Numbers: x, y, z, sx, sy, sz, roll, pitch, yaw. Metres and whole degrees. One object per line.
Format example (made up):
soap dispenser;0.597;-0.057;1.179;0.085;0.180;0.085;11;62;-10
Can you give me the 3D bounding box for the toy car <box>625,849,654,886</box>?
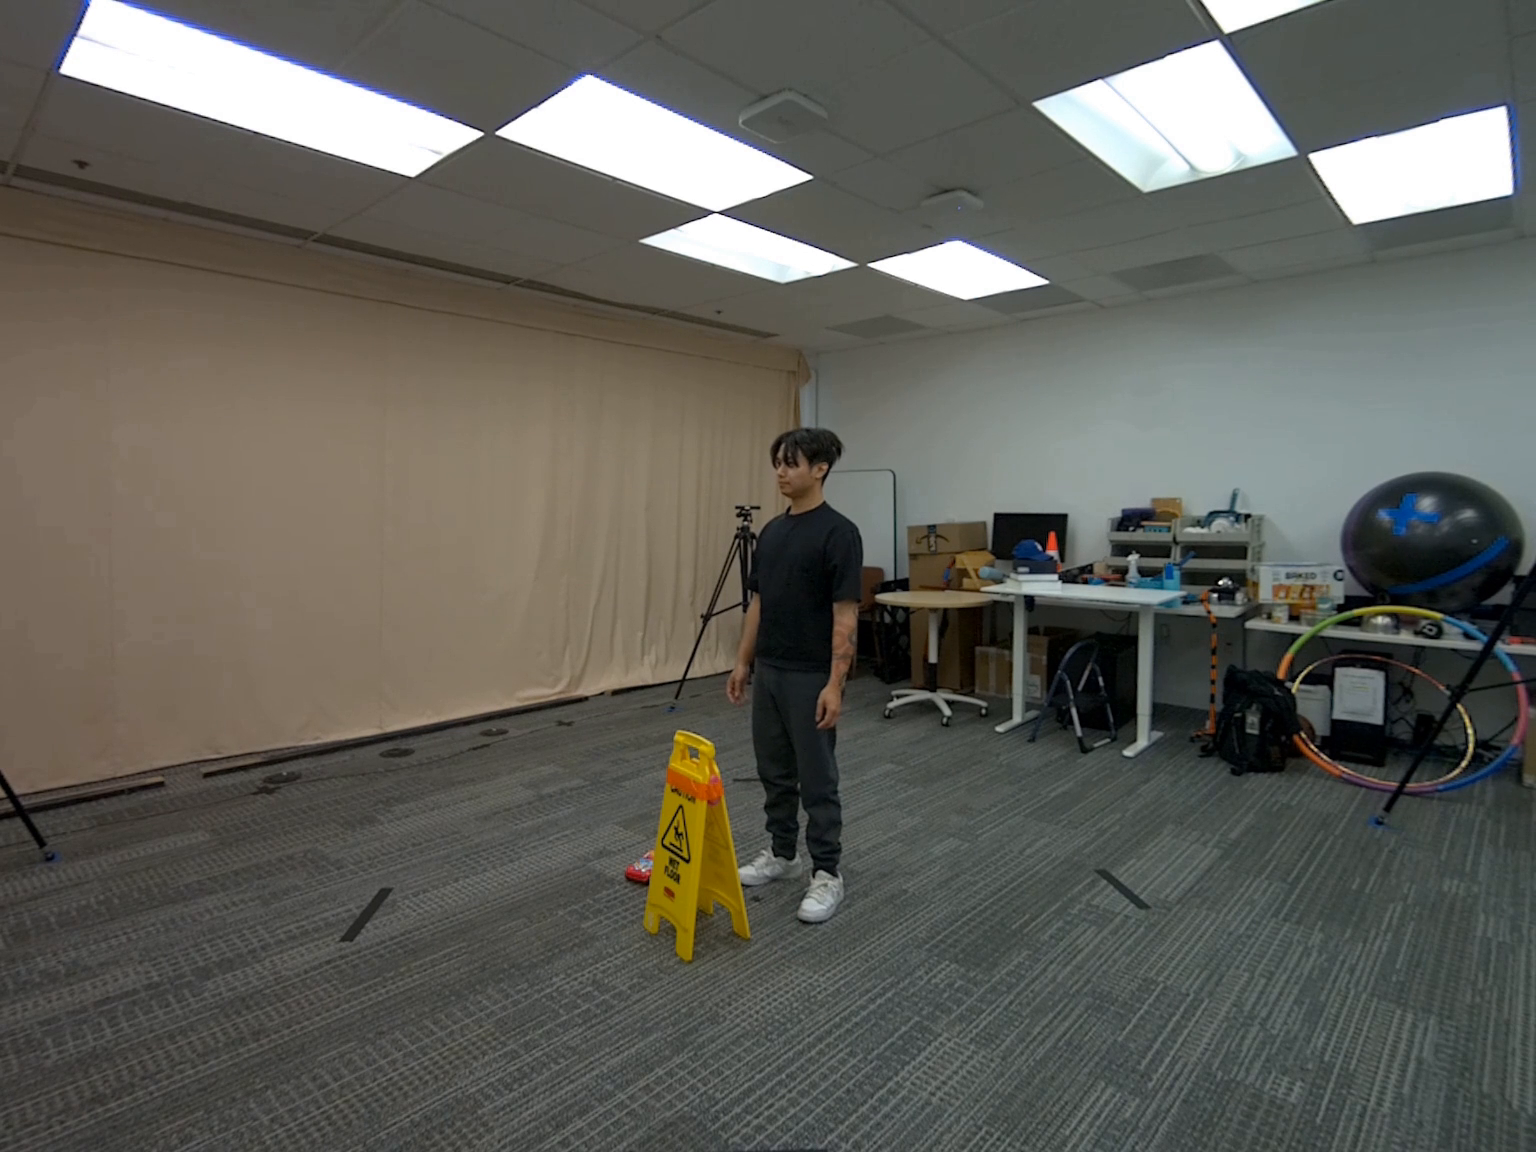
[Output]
toy car;-0.435;1.100;3.206;0.134;0.082;0.250;1;15;28
